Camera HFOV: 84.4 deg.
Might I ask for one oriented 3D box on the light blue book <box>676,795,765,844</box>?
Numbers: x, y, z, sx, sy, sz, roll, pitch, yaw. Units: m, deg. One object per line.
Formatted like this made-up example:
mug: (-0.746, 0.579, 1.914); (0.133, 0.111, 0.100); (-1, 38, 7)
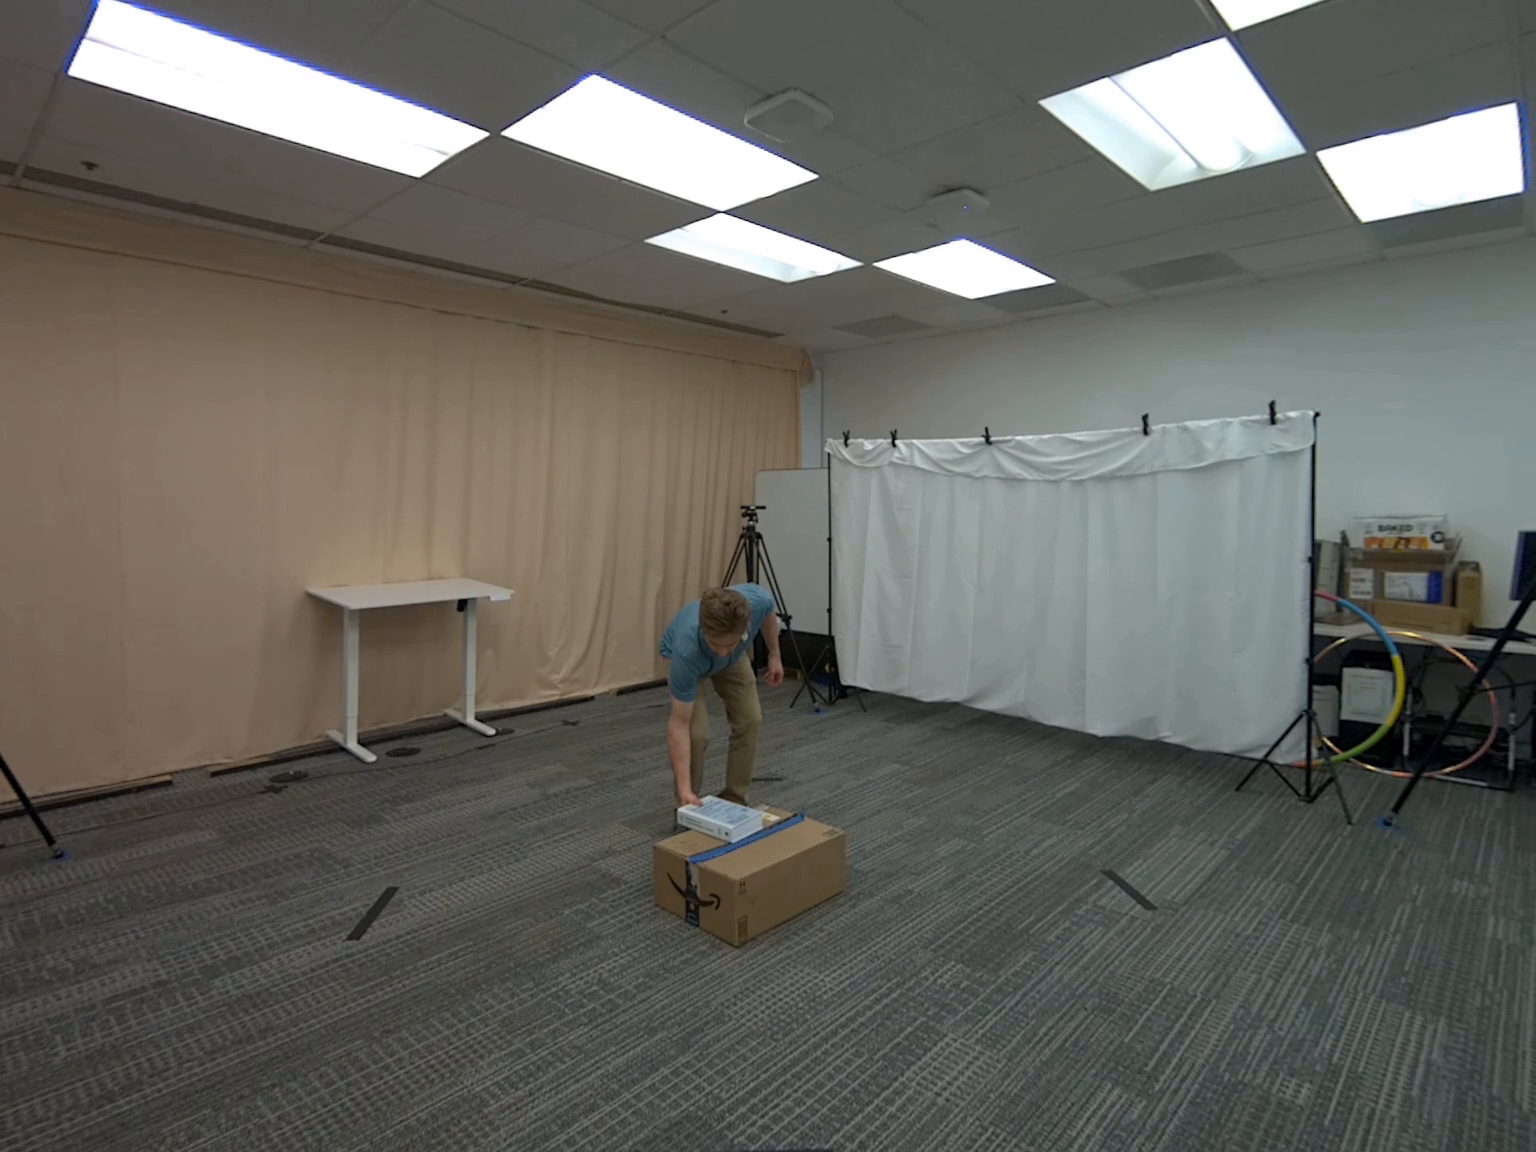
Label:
light blue book: (-0.174, 0.887, 3.104); (0.270, 0.059, 0.186); (5, 8, 38)
